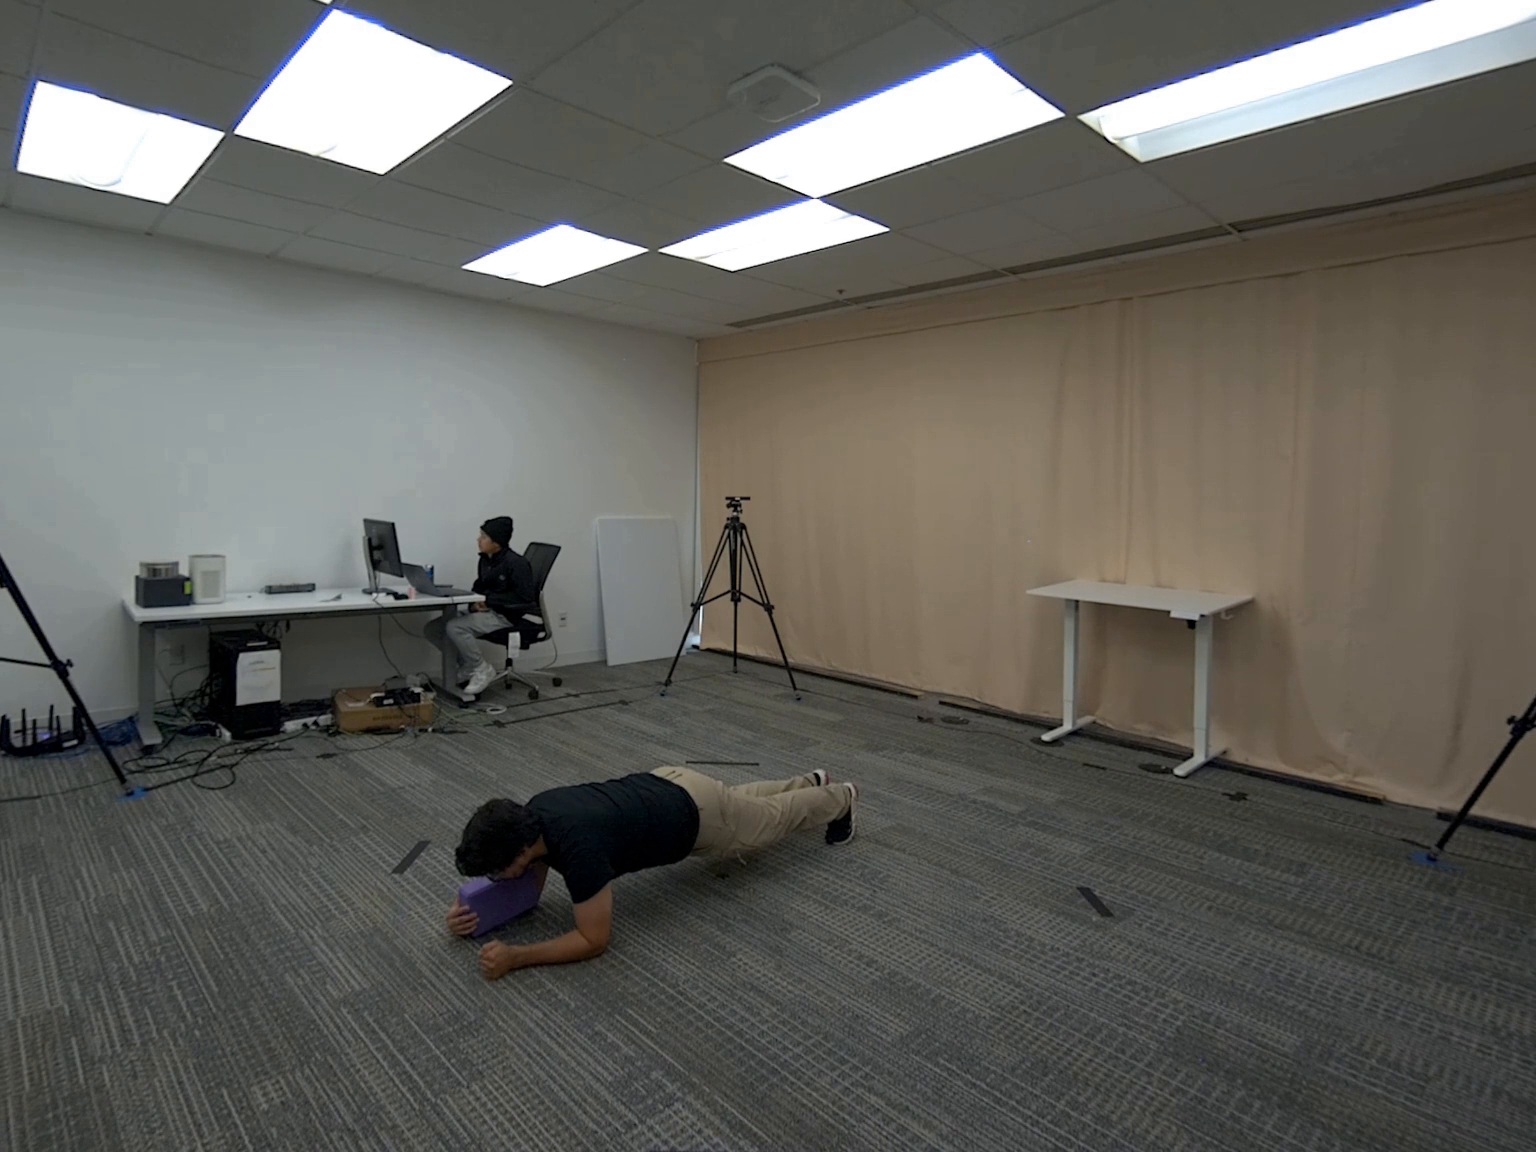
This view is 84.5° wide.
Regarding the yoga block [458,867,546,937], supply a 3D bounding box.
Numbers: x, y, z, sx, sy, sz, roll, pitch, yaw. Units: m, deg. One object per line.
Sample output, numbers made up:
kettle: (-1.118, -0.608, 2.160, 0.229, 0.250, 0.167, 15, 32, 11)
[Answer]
yoga block: (-0.861, 1.019, 2.690, 0.225, 0.147, 0.078, -14, 17, -37)
